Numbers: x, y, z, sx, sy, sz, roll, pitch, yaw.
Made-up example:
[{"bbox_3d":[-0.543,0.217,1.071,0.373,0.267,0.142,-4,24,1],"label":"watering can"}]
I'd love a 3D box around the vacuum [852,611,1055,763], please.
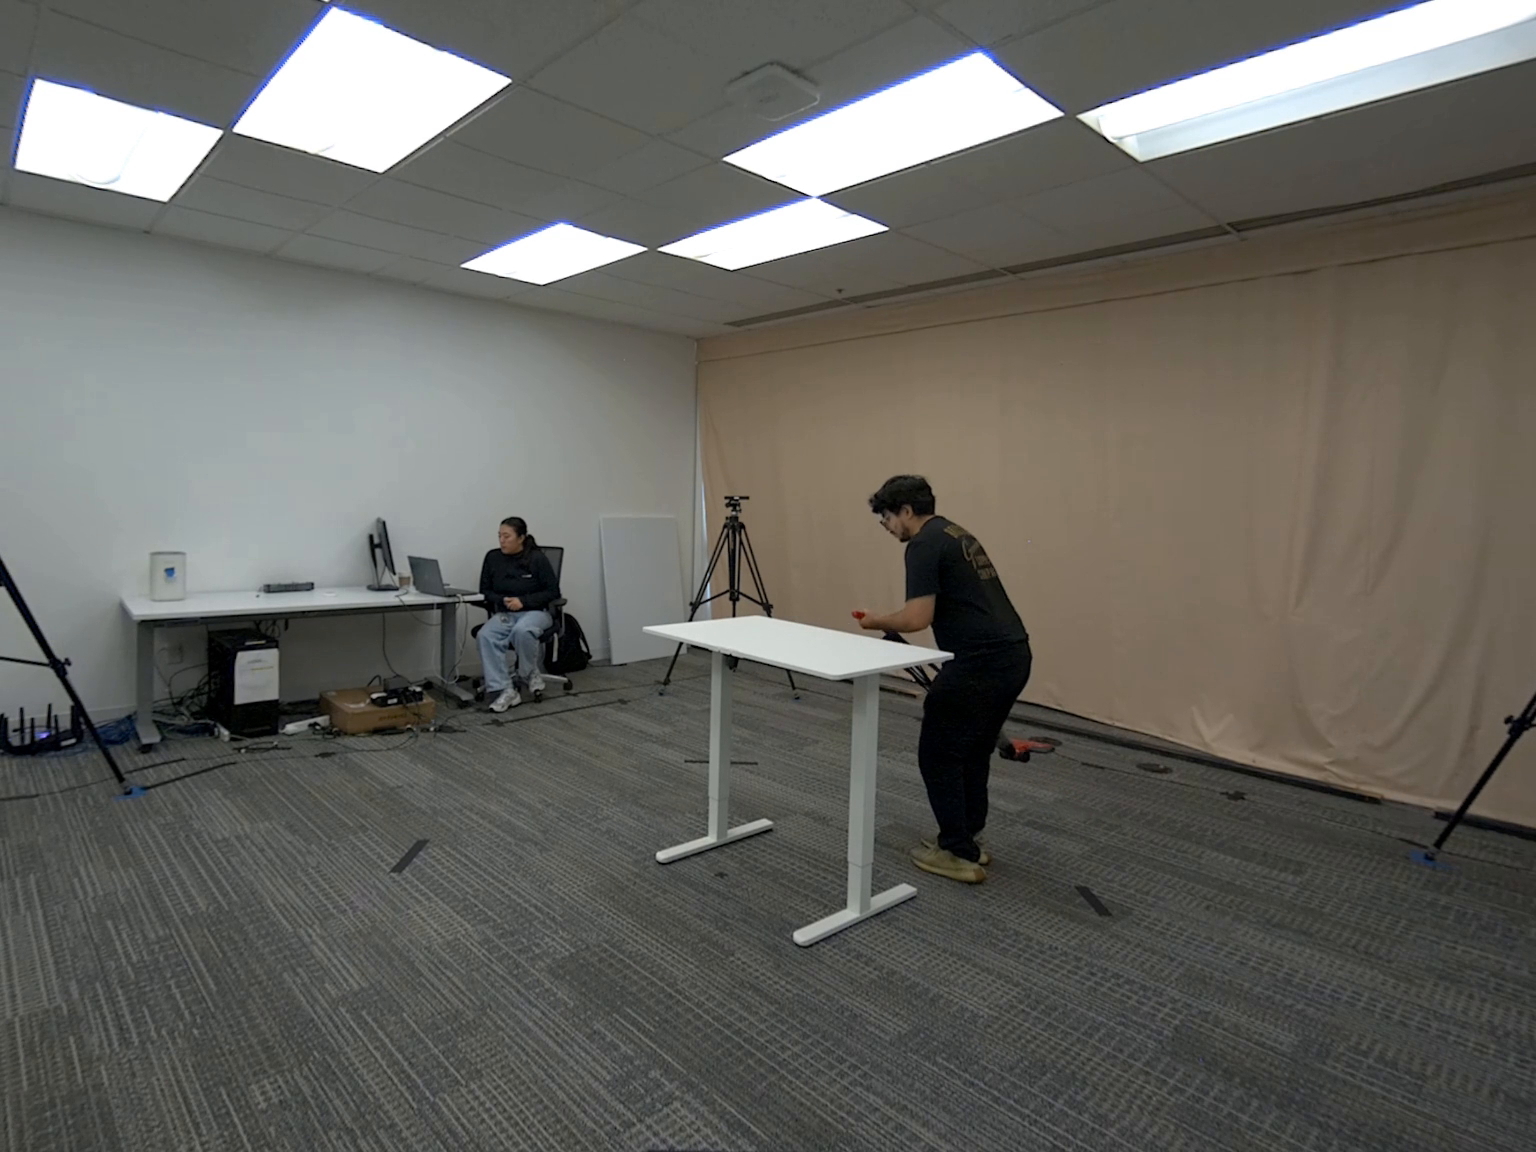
[{"bbox_3d":[0.721,0.468,3.506,1.029,0.145,0.256,38,-28,-19],"label":"vacuum"}]
